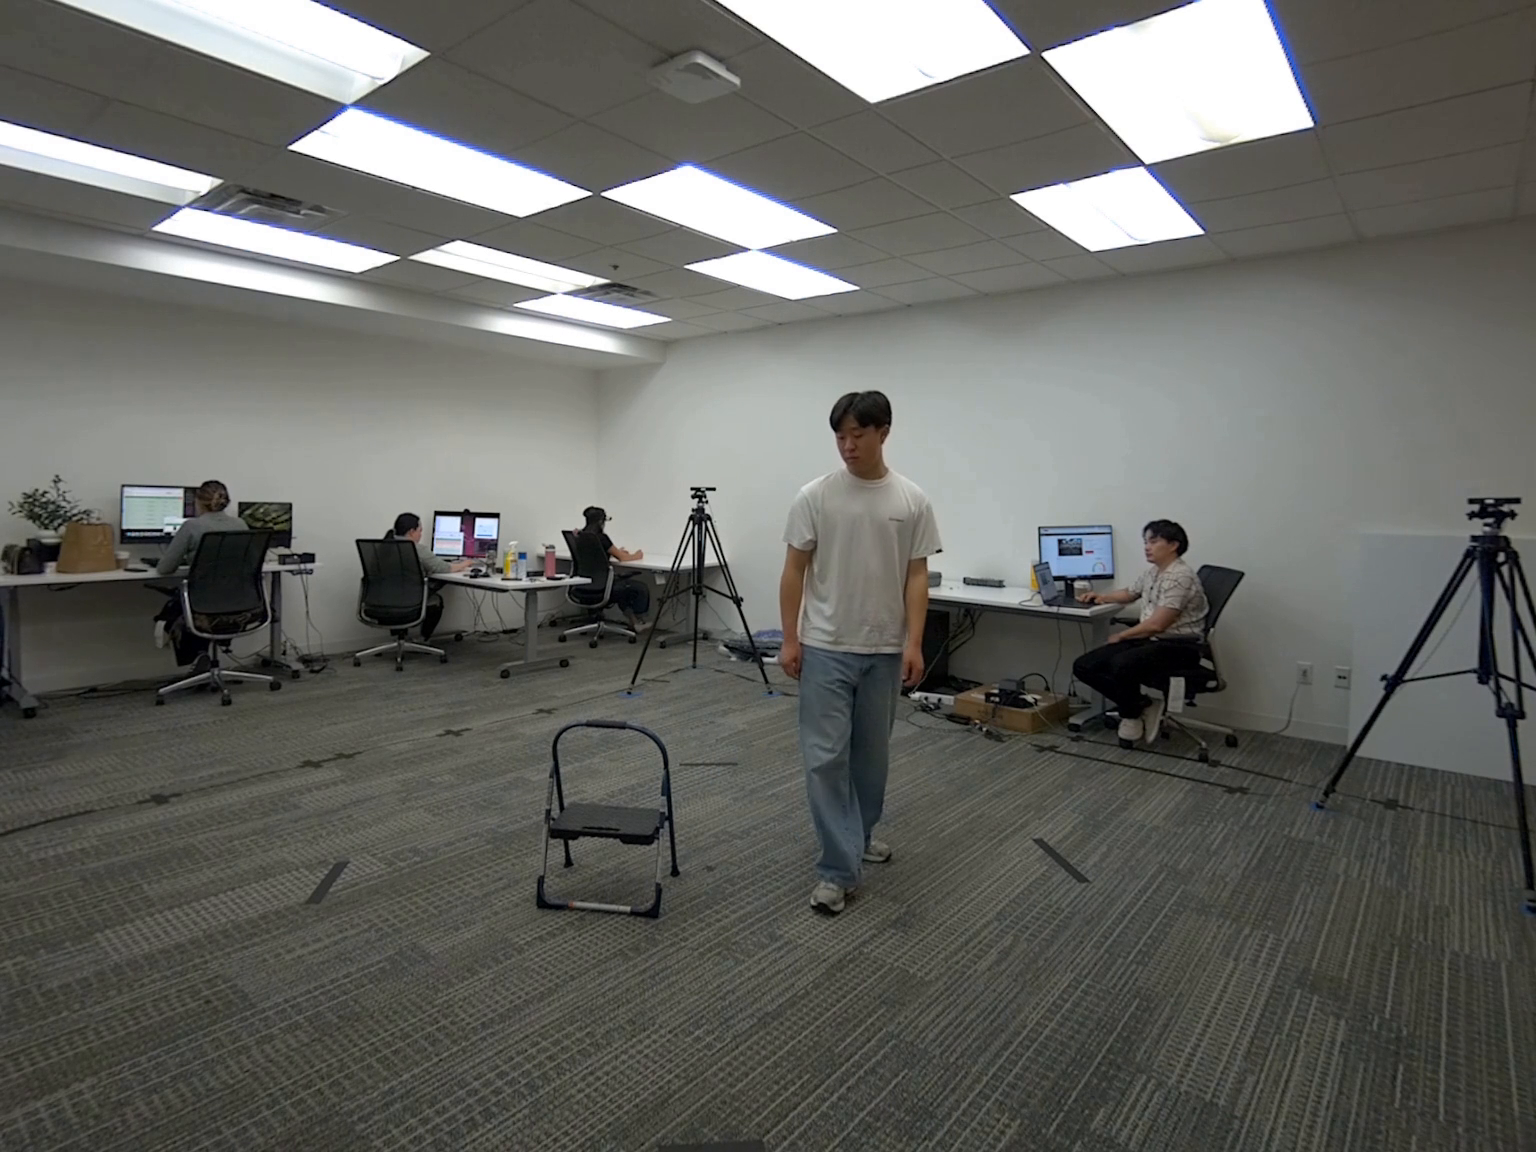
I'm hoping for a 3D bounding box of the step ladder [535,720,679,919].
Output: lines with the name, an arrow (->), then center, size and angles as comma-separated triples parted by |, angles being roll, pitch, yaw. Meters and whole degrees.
step ladder -> -0.551, 0.778, 2.914 | 0.434, 0.604, 0.348 | 1, 3, 6
